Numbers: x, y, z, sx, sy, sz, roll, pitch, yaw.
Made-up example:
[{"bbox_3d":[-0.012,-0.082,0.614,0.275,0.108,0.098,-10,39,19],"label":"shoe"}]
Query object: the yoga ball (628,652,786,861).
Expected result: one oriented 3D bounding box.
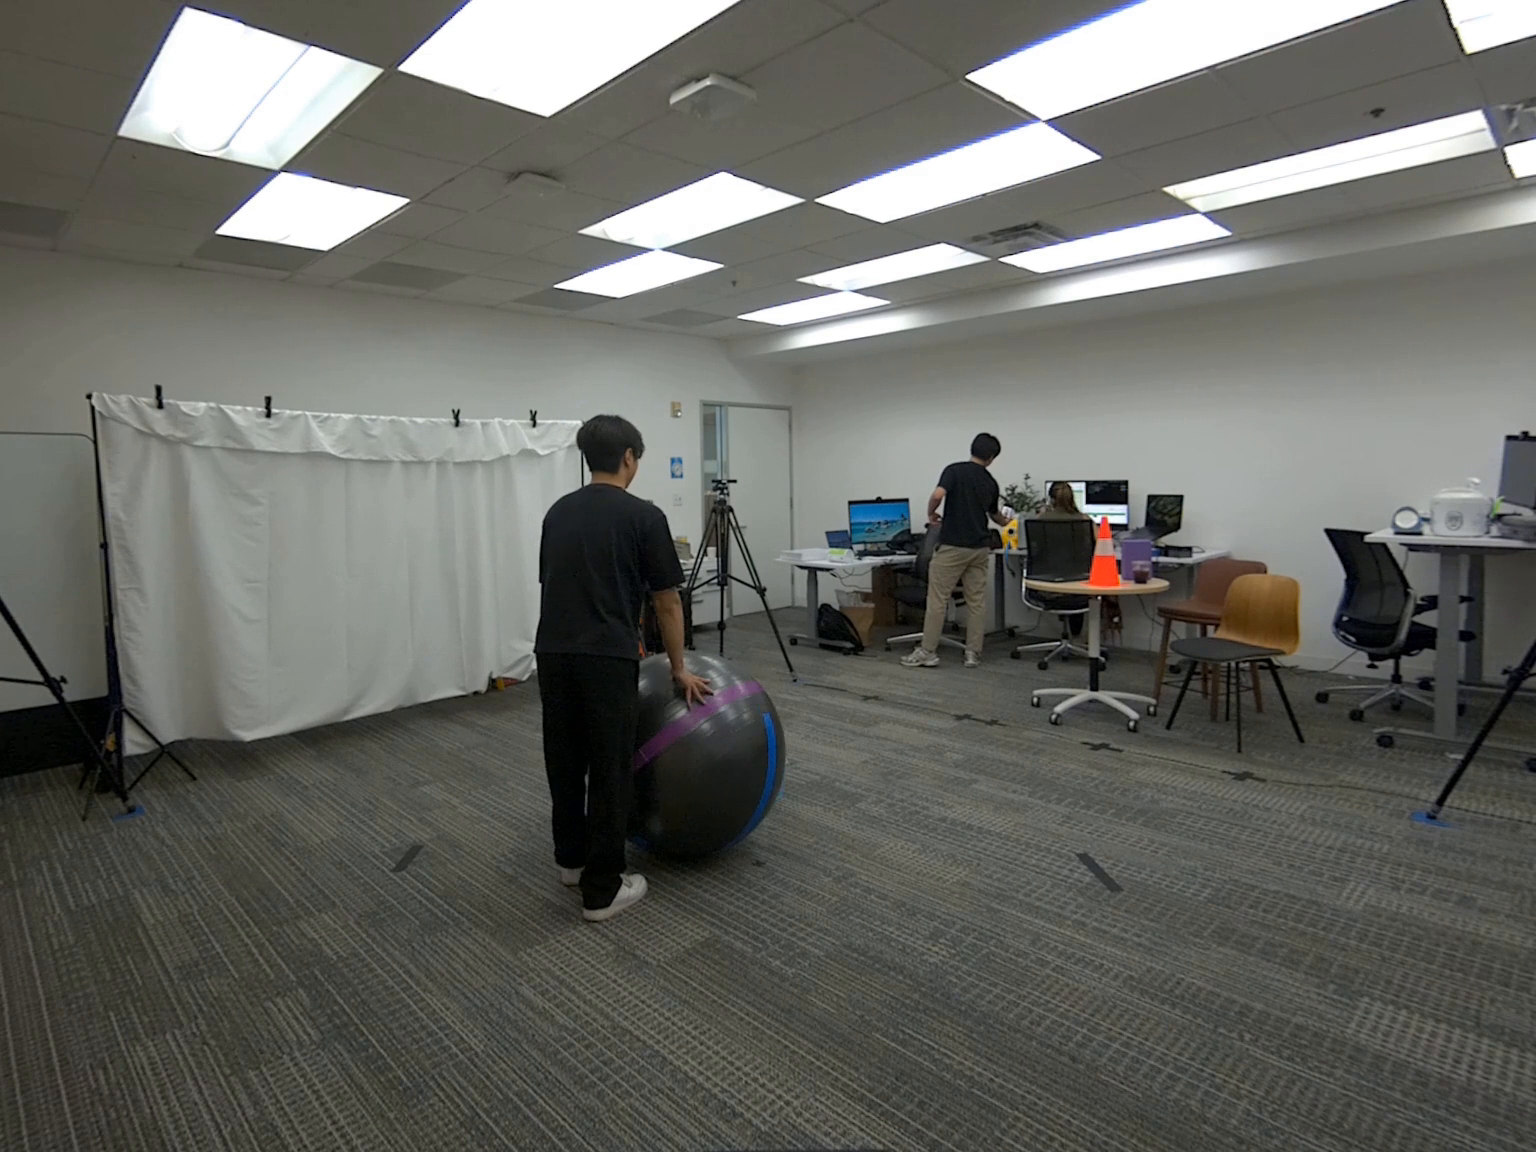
[{"bbox_3d":[-0.310,0.670,3.246,0.757,0.755,0.762,-1,5,-2],"label":"yoga ball"}]
